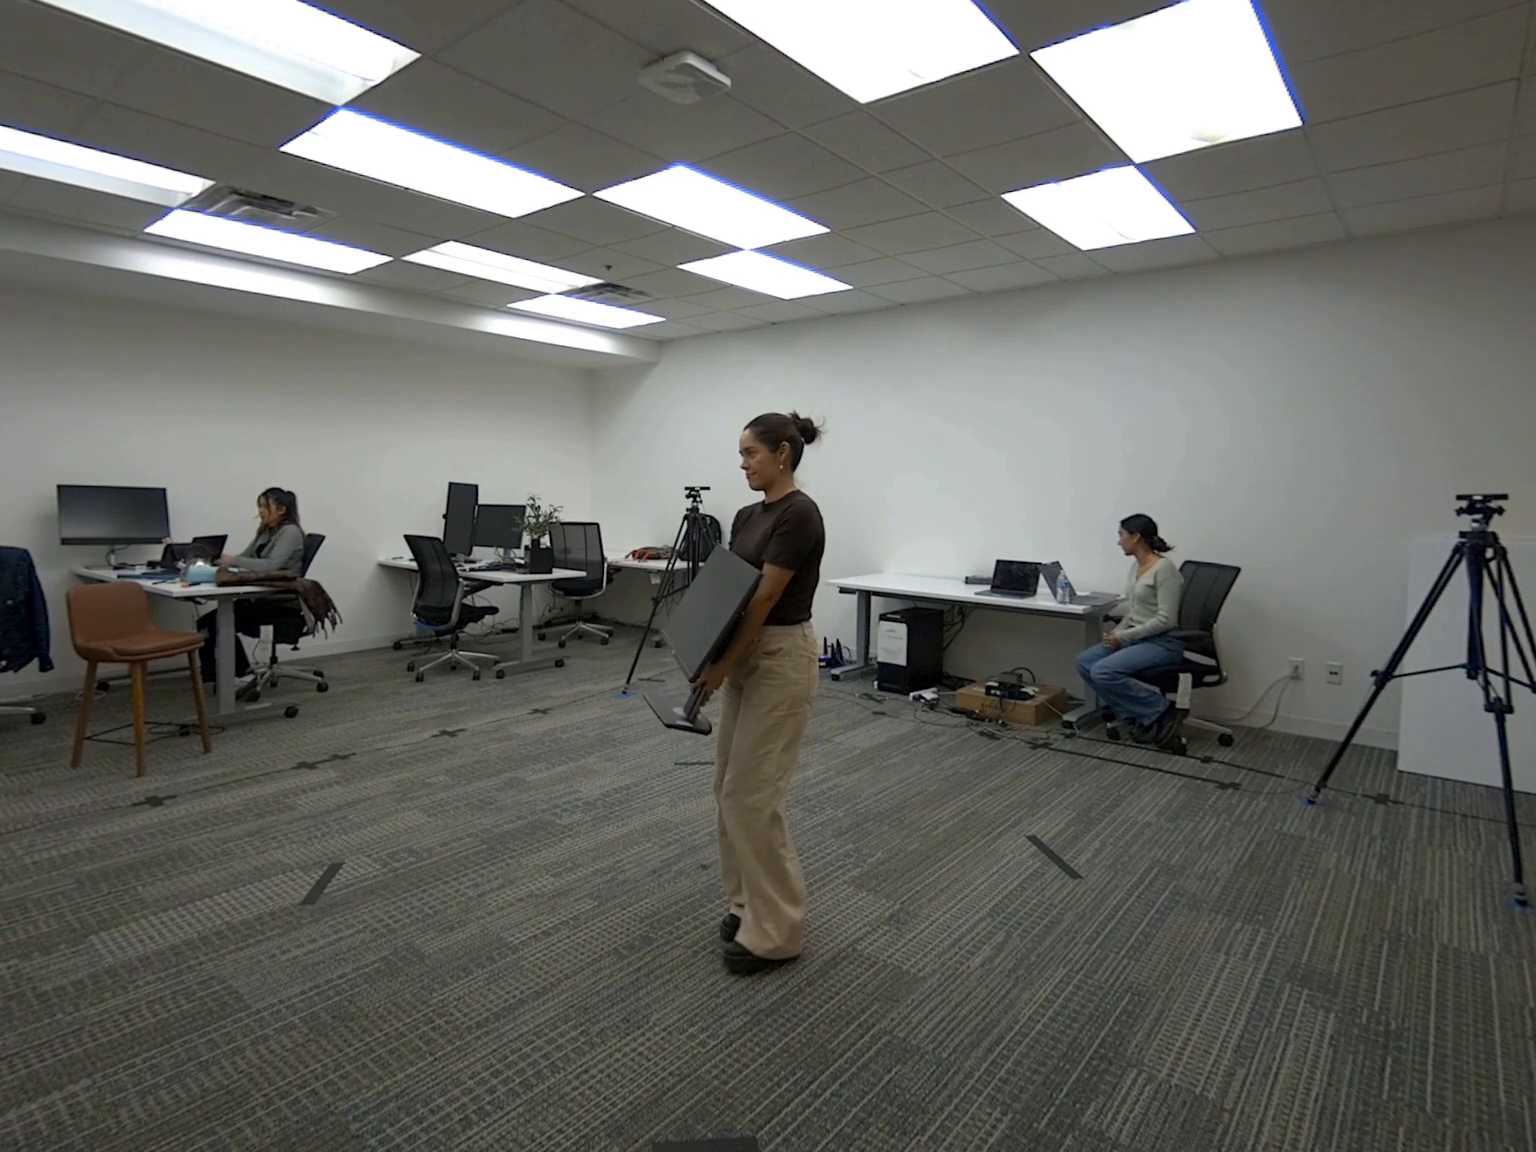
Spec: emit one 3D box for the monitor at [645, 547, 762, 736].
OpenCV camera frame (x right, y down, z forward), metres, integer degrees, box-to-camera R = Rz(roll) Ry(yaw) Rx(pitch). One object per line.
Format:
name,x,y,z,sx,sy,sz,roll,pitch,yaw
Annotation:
monitor,-0.191,0.188,2.538,0.183,0.522,0.550,20,2,-17
